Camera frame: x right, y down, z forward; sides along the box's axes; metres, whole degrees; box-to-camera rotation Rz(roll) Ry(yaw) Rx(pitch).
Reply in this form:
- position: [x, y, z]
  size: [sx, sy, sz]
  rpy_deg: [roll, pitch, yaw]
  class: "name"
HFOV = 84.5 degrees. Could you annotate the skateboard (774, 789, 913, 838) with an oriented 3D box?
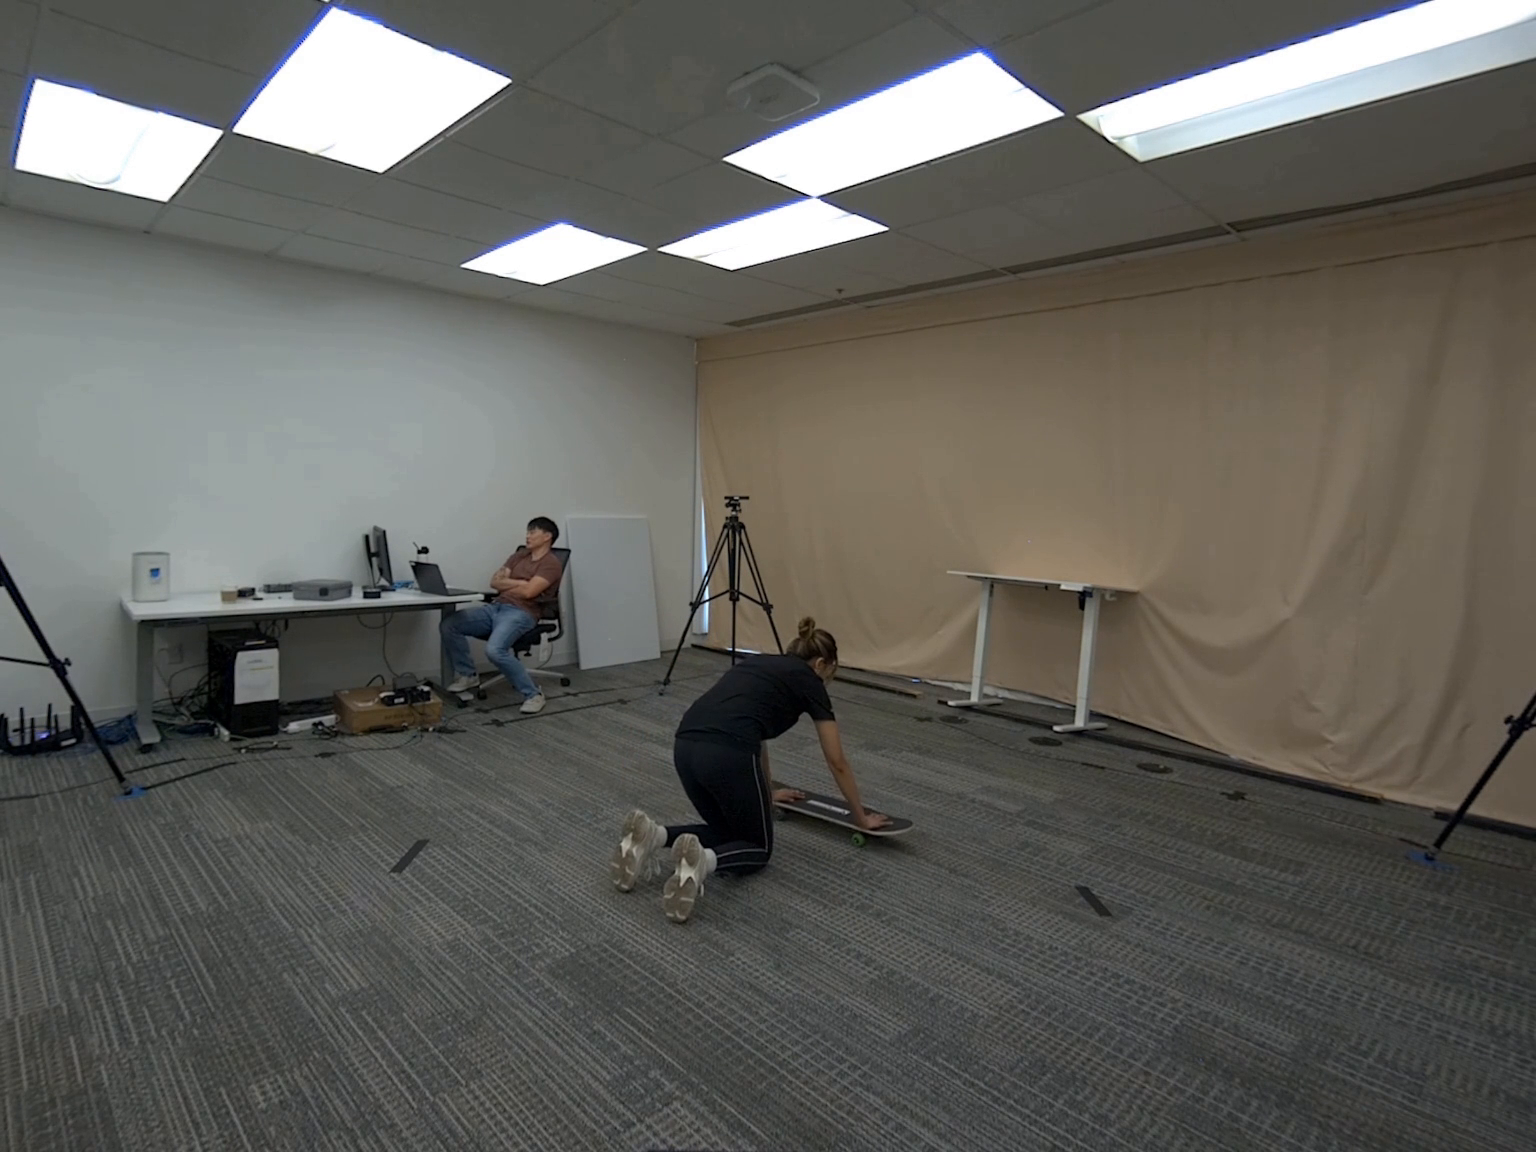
- position: [0.244, 1.016, 3.587]
  size: [0.805, 0.110, 0.189]
  rpy_deg: [6, 7, 39]
  class: "skateboard"
